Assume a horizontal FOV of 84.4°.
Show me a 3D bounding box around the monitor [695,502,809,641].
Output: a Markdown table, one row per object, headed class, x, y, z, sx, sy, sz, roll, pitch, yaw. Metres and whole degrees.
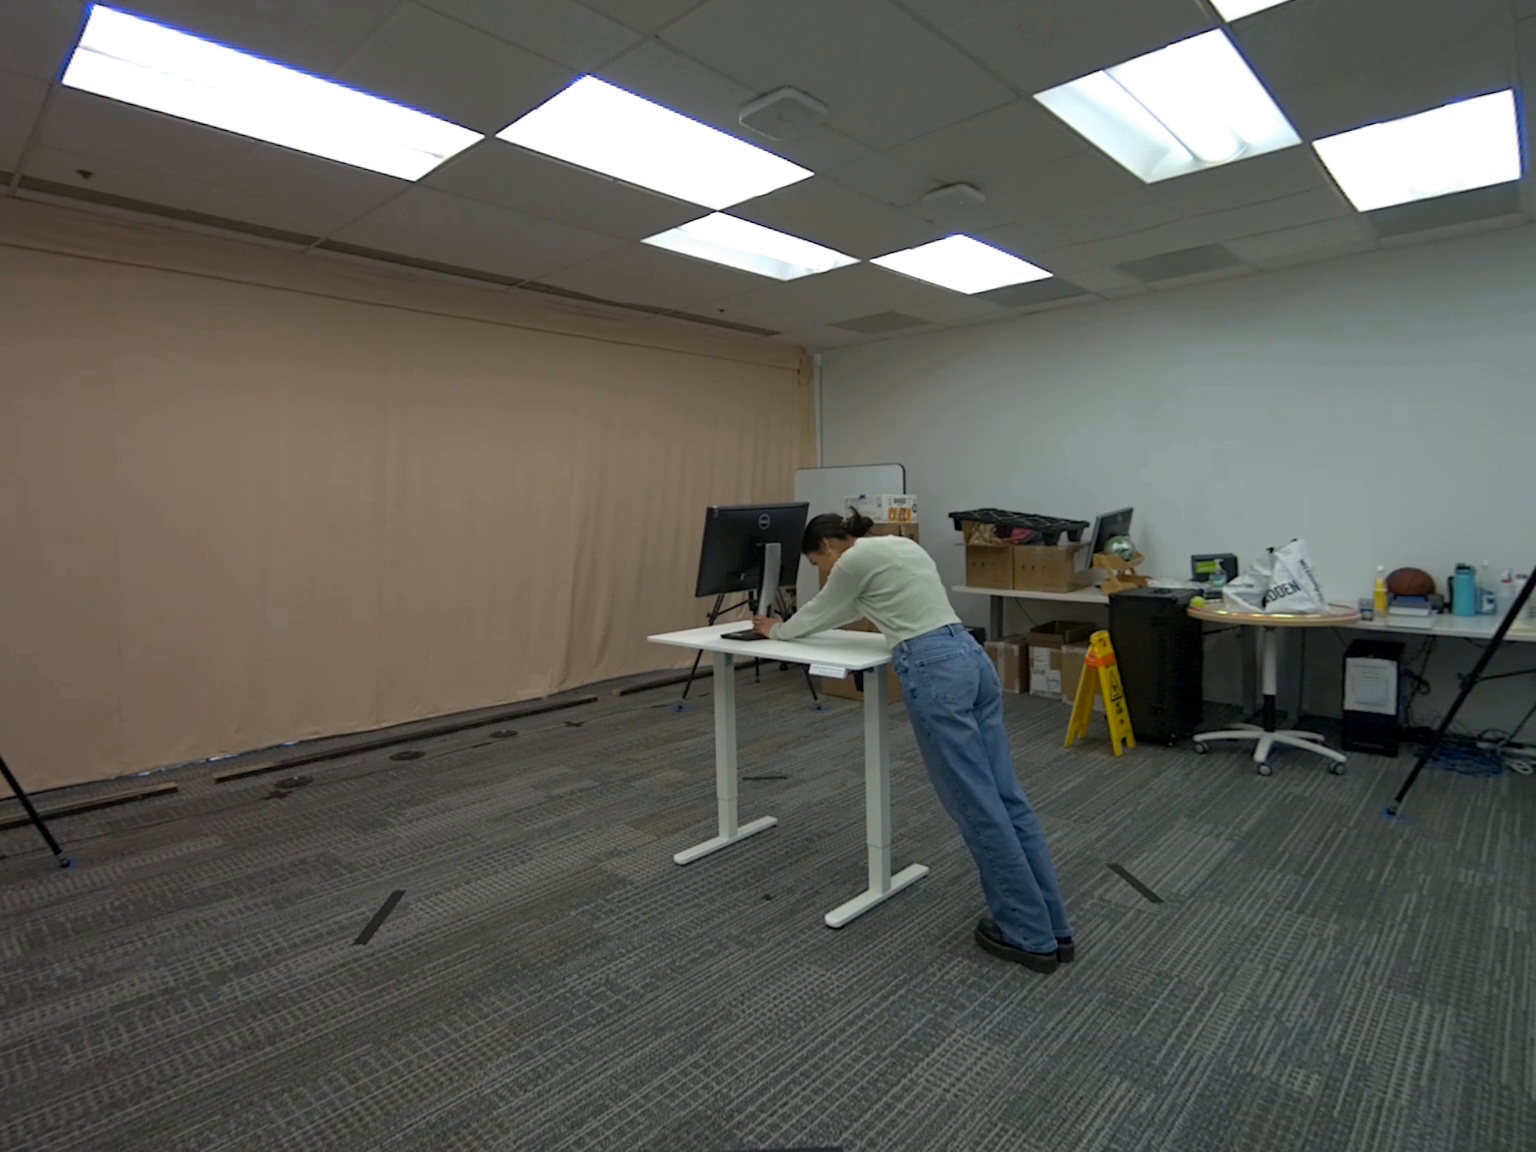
| class | x | y | z | sx | sy | sz | roll | pitch | yaw |
| --- | --- | --- | --- | --- | --- | --- | --- | --- | --- |
| monitor | -0.029 | -0.019 | 3.278 | 0.193 | 0.521 | 0.523 | 5 | 8 | 45 |
